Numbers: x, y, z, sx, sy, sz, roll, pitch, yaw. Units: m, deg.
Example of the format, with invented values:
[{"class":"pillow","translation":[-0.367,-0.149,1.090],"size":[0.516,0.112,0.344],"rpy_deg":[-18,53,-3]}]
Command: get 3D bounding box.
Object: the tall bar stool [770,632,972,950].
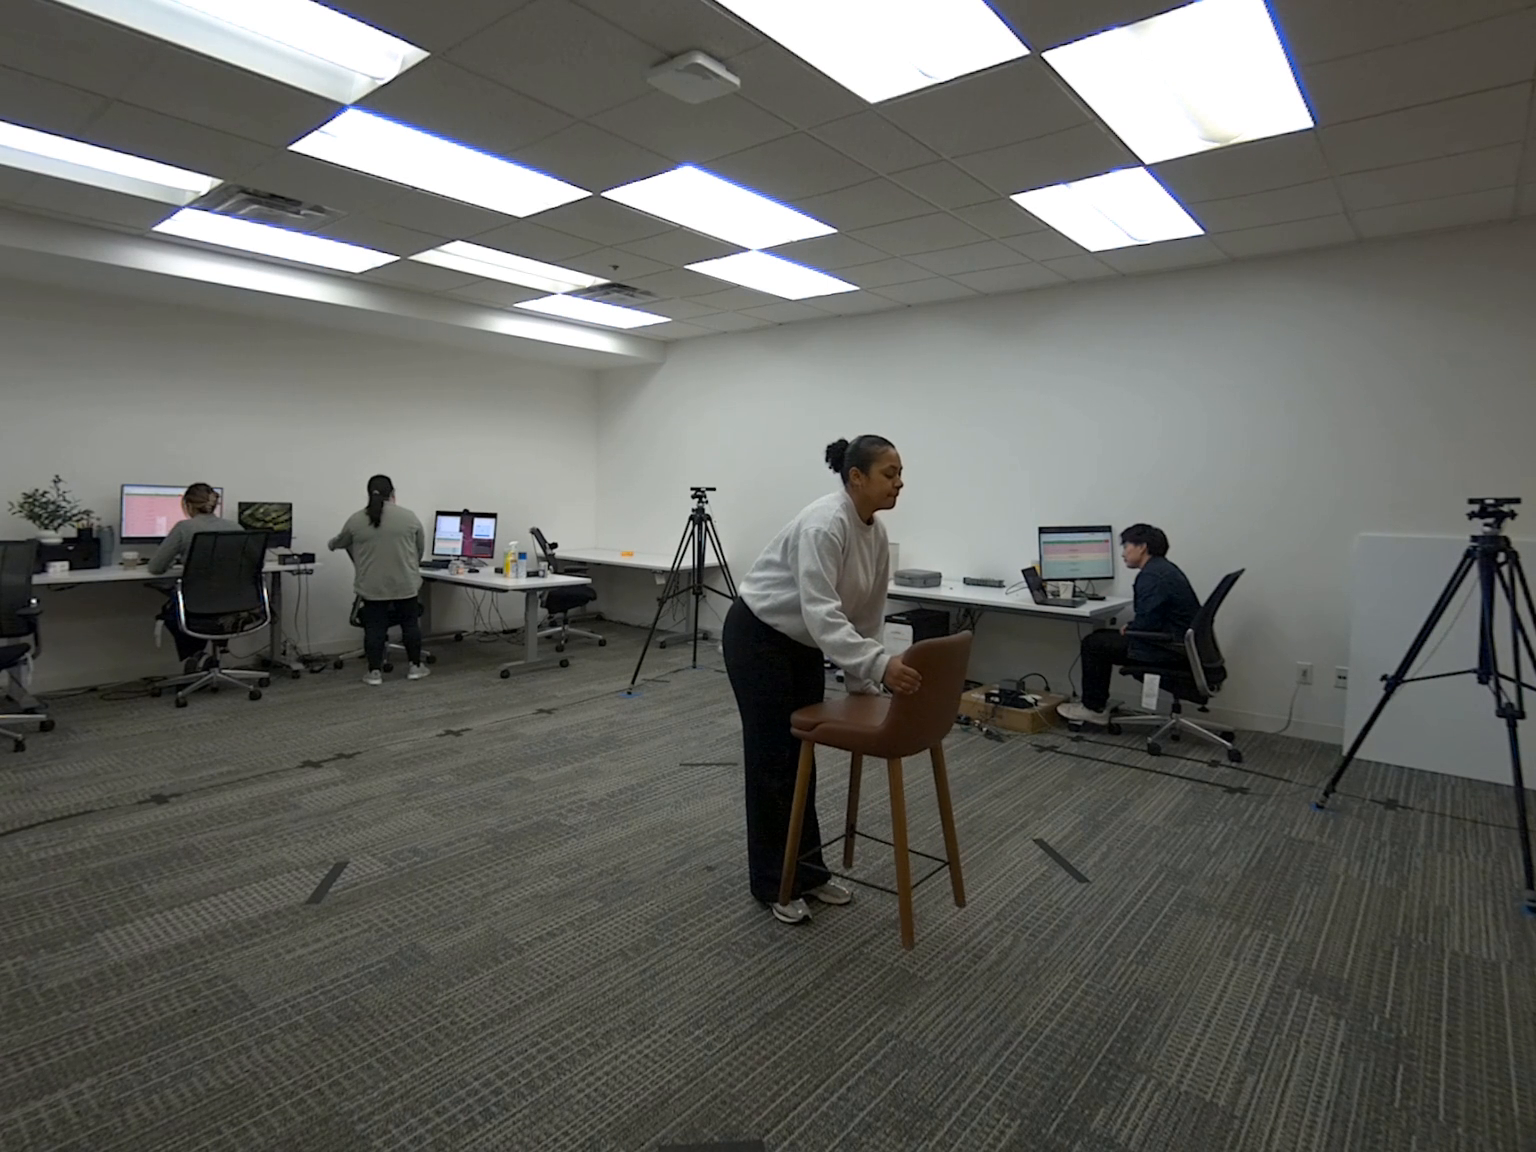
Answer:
[{"class":"tall bar stool","translation":[0.340,0.596,2.660],"size":[0.483,0.888,0.442],"rpy_deg":[4,3,39]}]
